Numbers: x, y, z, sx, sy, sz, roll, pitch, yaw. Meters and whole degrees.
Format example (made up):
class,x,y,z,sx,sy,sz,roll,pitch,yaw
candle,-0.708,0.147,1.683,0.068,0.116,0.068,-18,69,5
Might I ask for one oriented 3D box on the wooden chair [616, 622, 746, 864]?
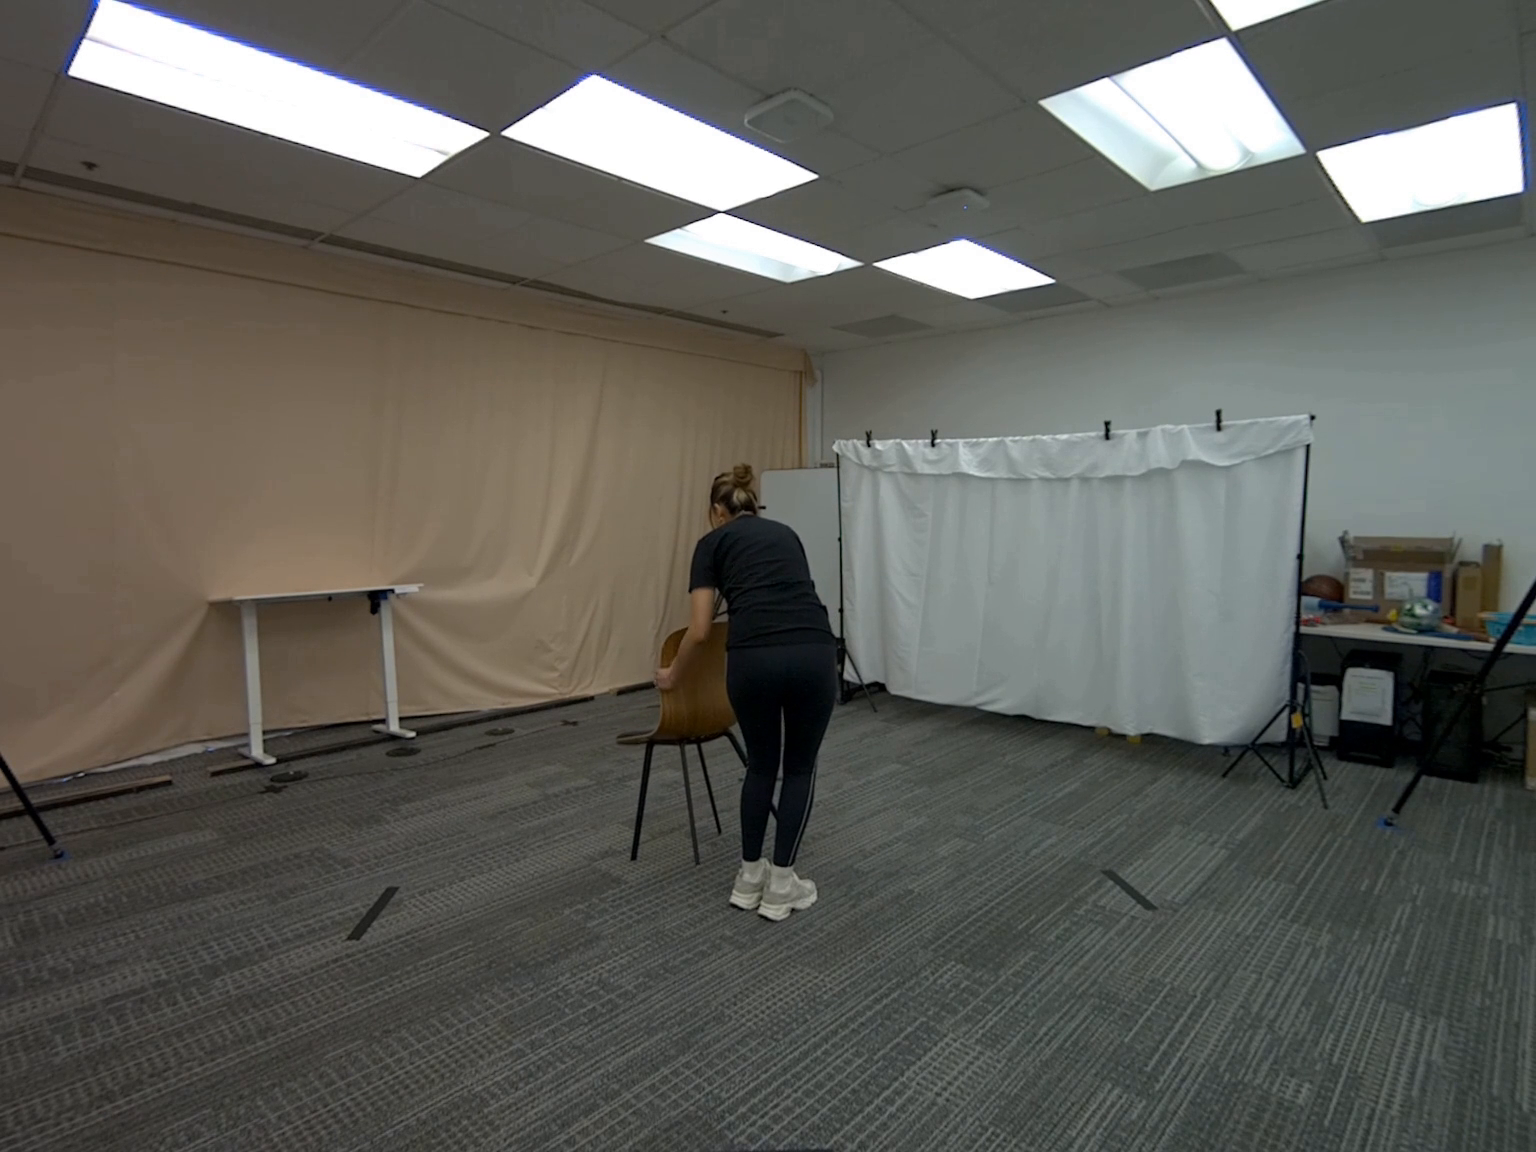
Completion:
class,x,y,z,sx,sy,sz,roll,pitch,yaw
wooden chair,-0.312,0.644,3.345,0.464,0.881,0.537,-3,-7,-39
